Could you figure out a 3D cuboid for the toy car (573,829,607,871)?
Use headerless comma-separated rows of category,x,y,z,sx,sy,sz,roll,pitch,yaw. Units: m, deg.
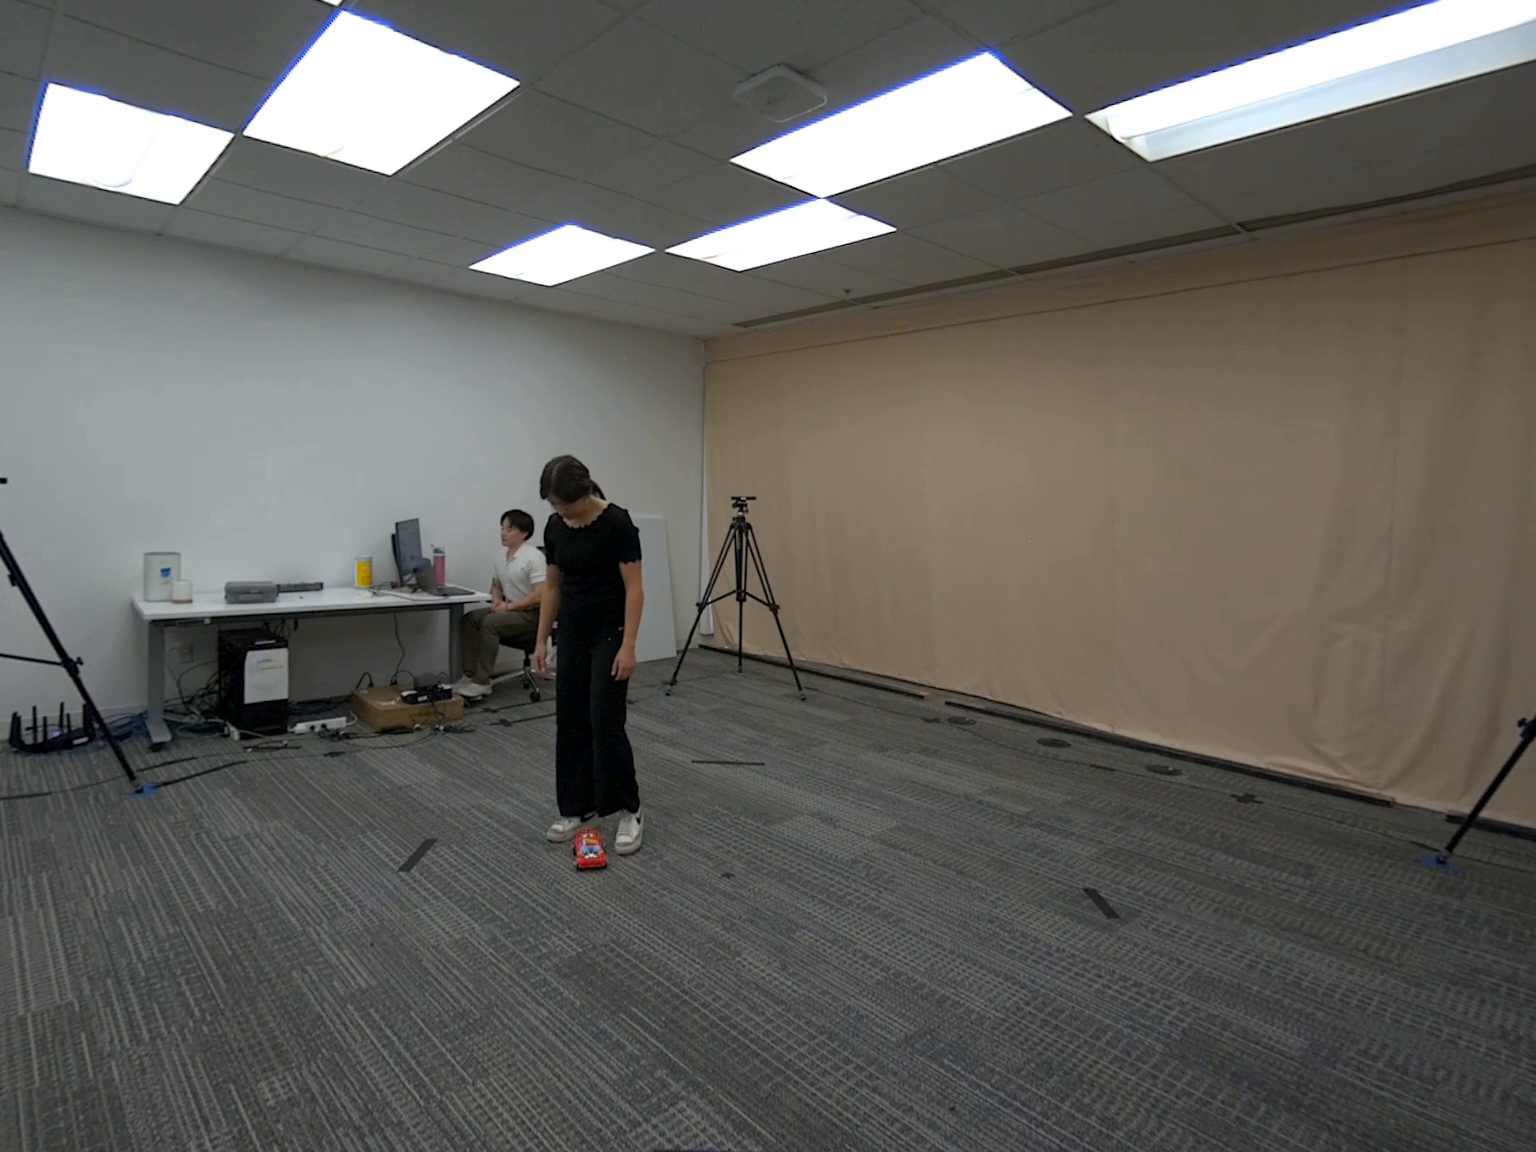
toy car,-0.694,1.052,3.222,0.129,0.082,0.260,1,16,-15
